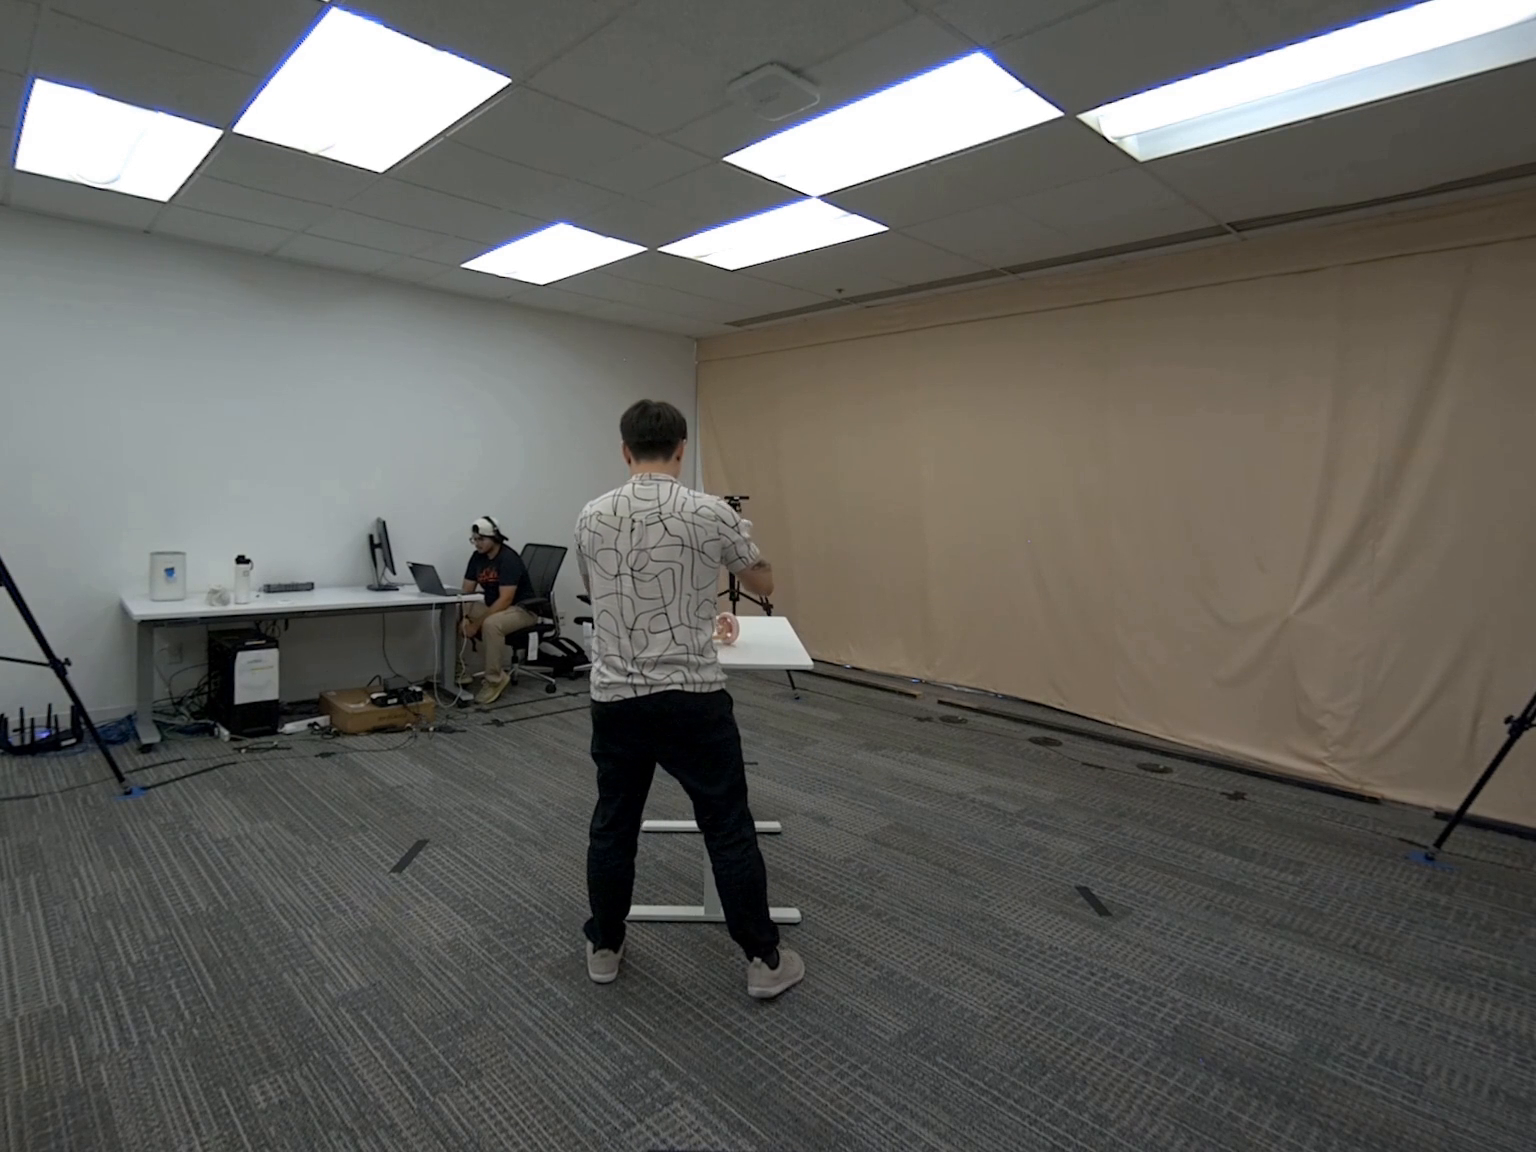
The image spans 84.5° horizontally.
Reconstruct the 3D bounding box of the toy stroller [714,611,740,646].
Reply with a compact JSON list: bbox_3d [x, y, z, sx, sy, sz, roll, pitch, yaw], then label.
[{"bbox_3d":[-0.266,0.019,2.872,0.275,0.531,0.352,-2,20,-43],"label":"toy stroller"}]
